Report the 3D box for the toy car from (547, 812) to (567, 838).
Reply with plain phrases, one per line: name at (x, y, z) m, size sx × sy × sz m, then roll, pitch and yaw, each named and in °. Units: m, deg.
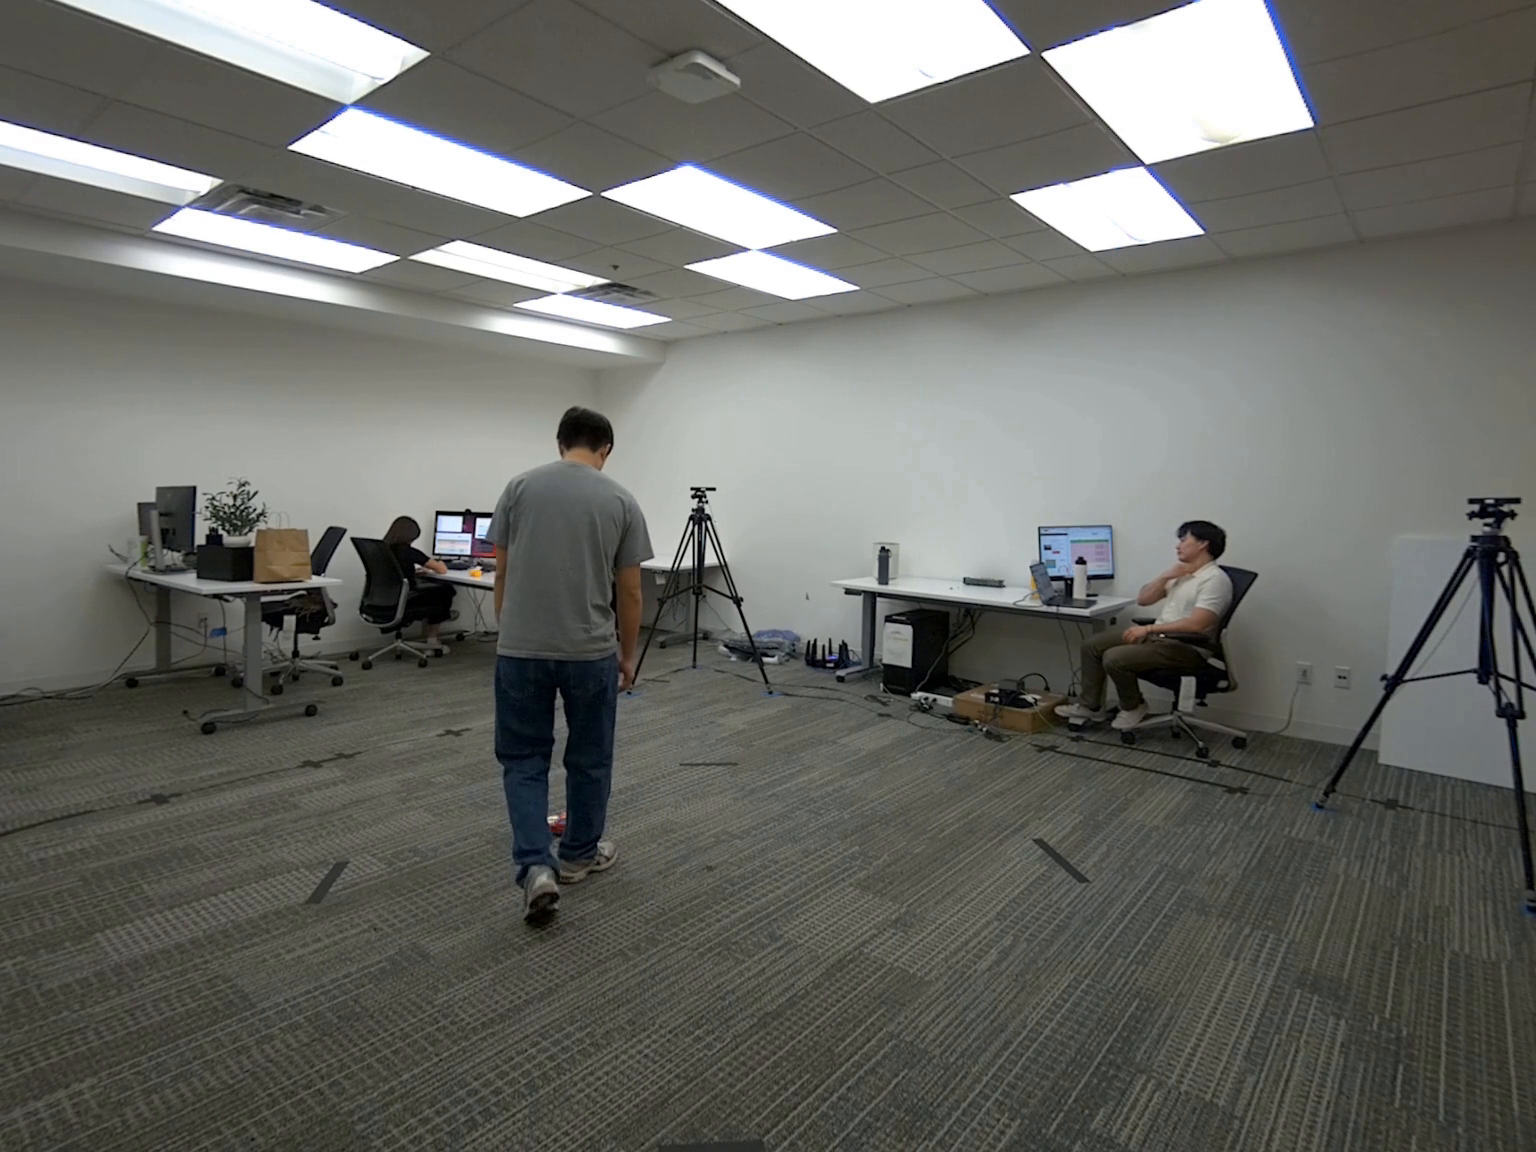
toy car at (-0.800, 0.995, 3.410) m, size 0.255 × 0.083 × 0.130 m, roll -10°, pitch 3°, yaw 1°
